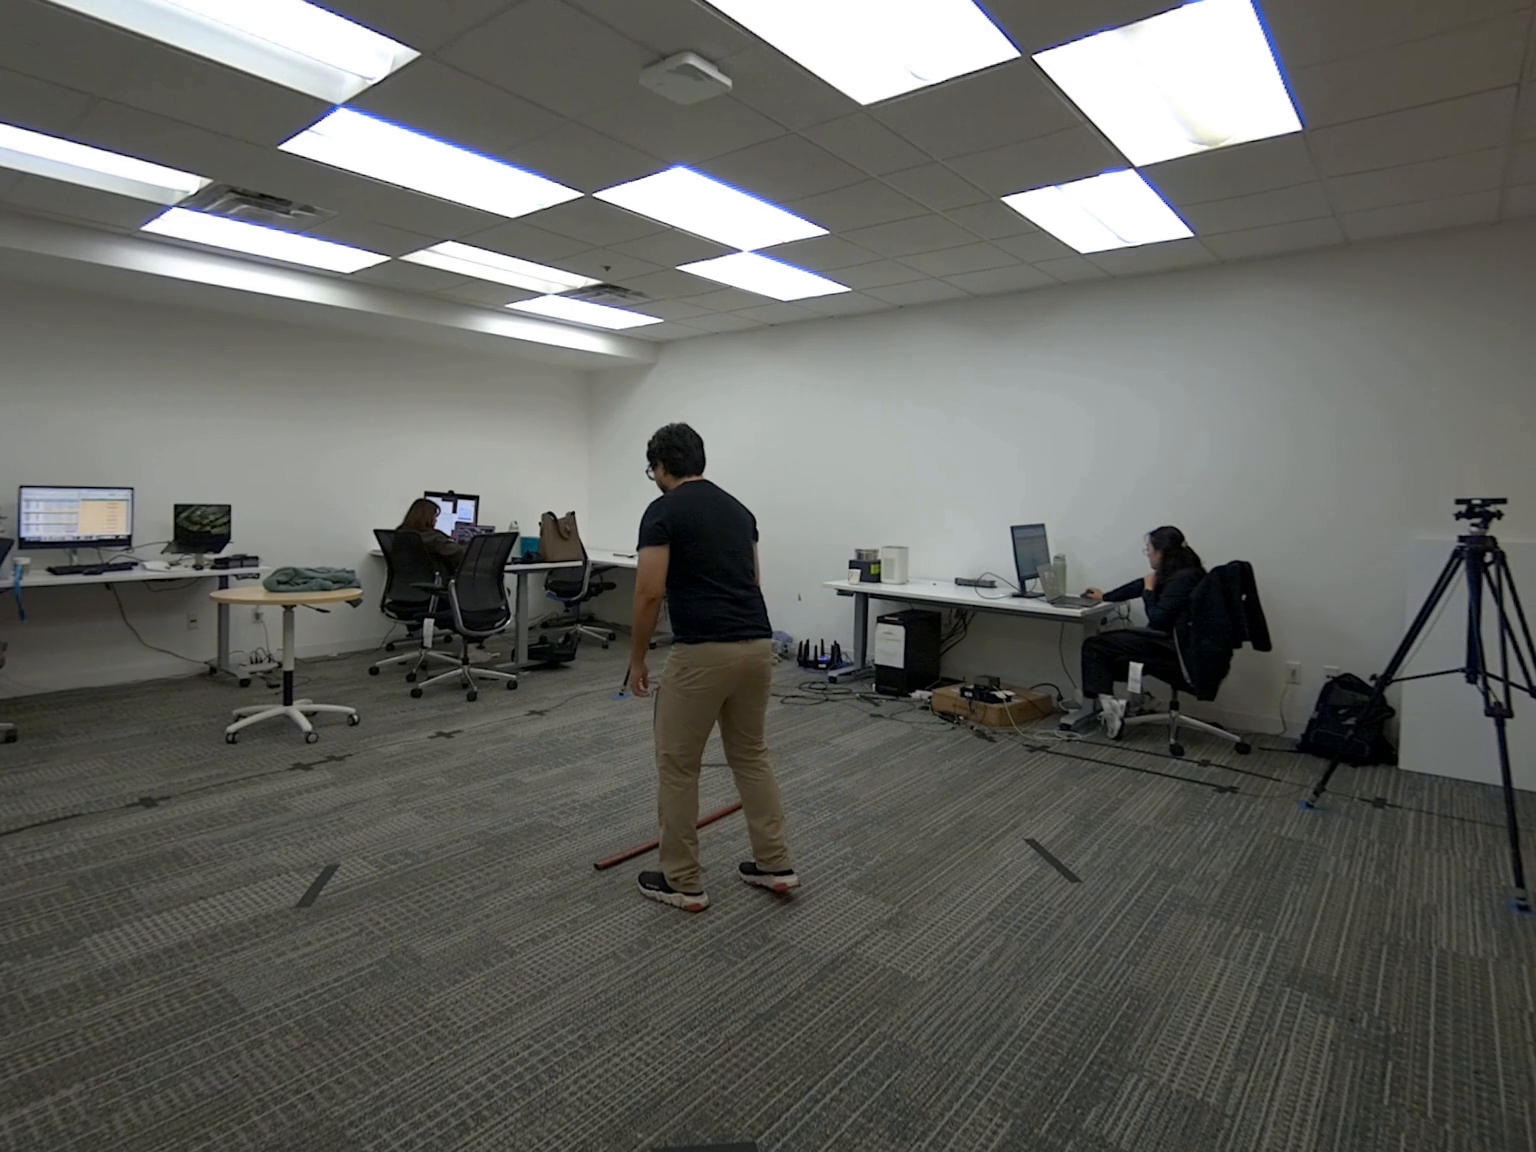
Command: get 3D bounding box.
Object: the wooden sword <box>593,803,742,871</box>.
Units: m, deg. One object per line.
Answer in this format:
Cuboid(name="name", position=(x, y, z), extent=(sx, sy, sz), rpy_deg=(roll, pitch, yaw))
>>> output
Cuboid(name="wooden sword", position=(-0.322, 1.010, 3.466), extent=(0.053, 0.024, 0.995), rpy_deg=(-3, 2, 38))
